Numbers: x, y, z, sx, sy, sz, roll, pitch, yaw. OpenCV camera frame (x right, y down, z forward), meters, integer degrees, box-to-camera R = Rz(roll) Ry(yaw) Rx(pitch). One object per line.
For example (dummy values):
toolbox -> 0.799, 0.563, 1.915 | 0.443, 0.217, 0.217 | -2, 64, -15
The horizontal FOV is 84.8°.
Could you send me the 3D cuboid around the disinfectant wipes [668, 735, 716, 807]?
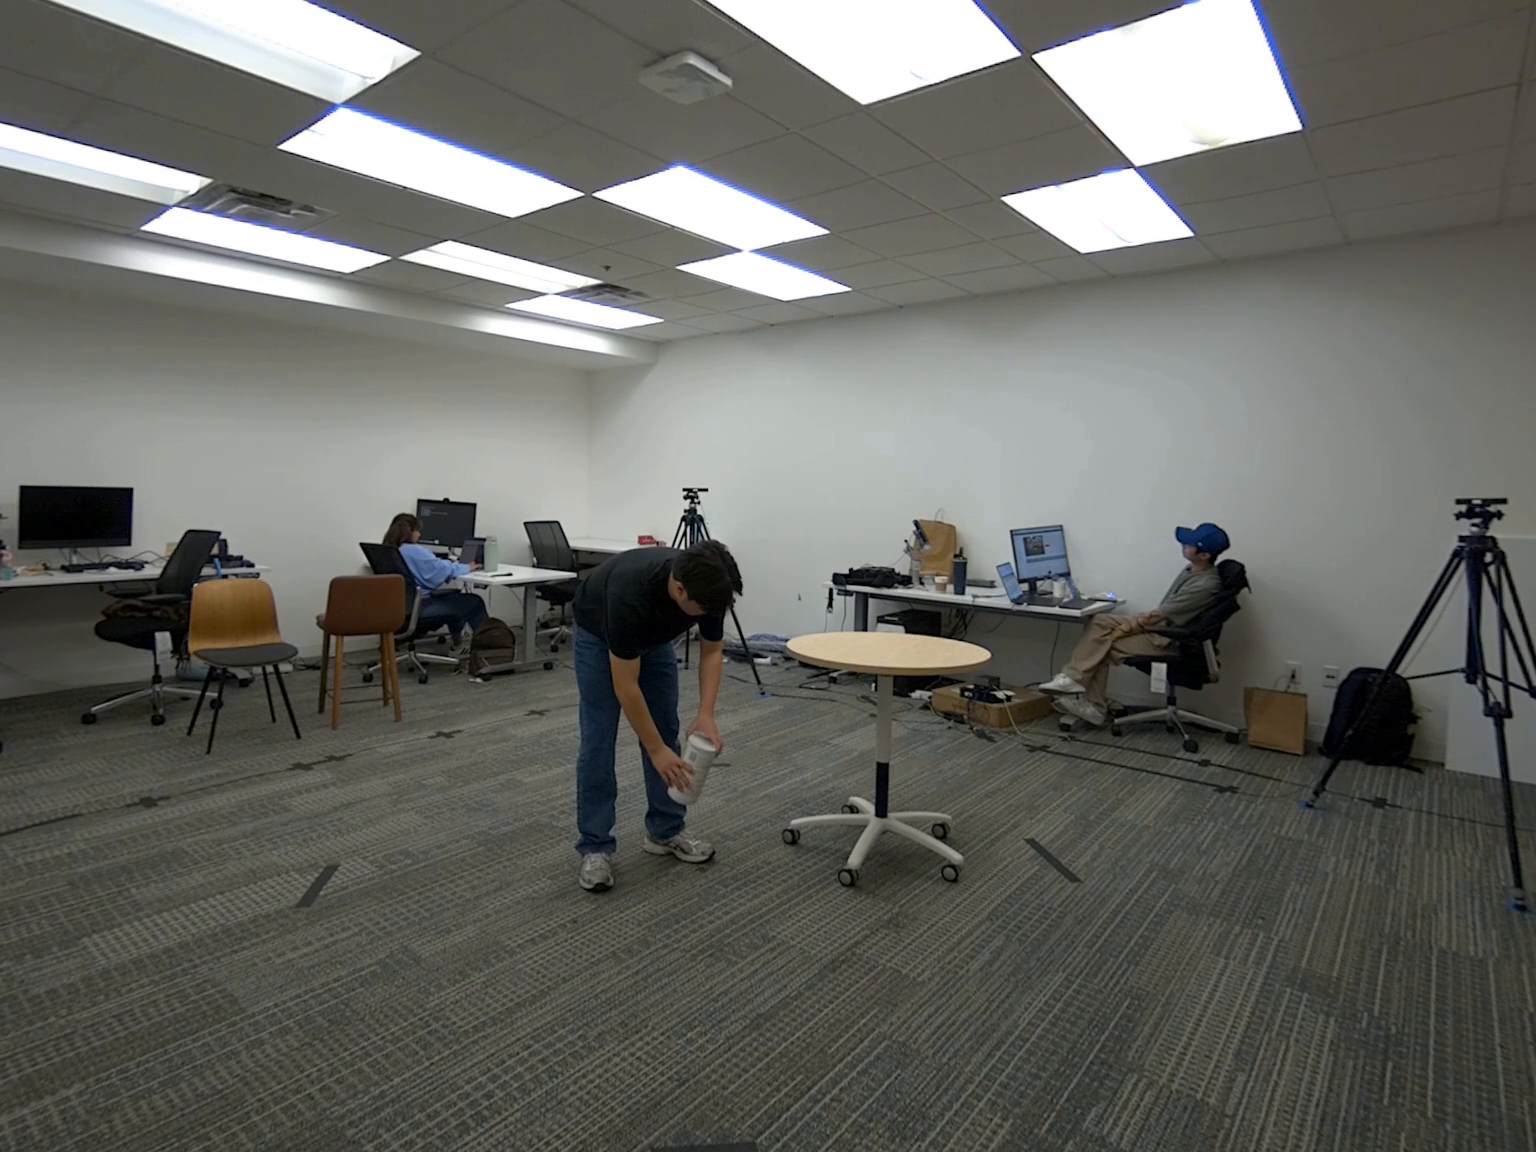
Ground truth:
disinfectant wipes -> -0.267, 0.655, 2.908 | 0.117, 0.217, 0.118 | 19, 3, -3
